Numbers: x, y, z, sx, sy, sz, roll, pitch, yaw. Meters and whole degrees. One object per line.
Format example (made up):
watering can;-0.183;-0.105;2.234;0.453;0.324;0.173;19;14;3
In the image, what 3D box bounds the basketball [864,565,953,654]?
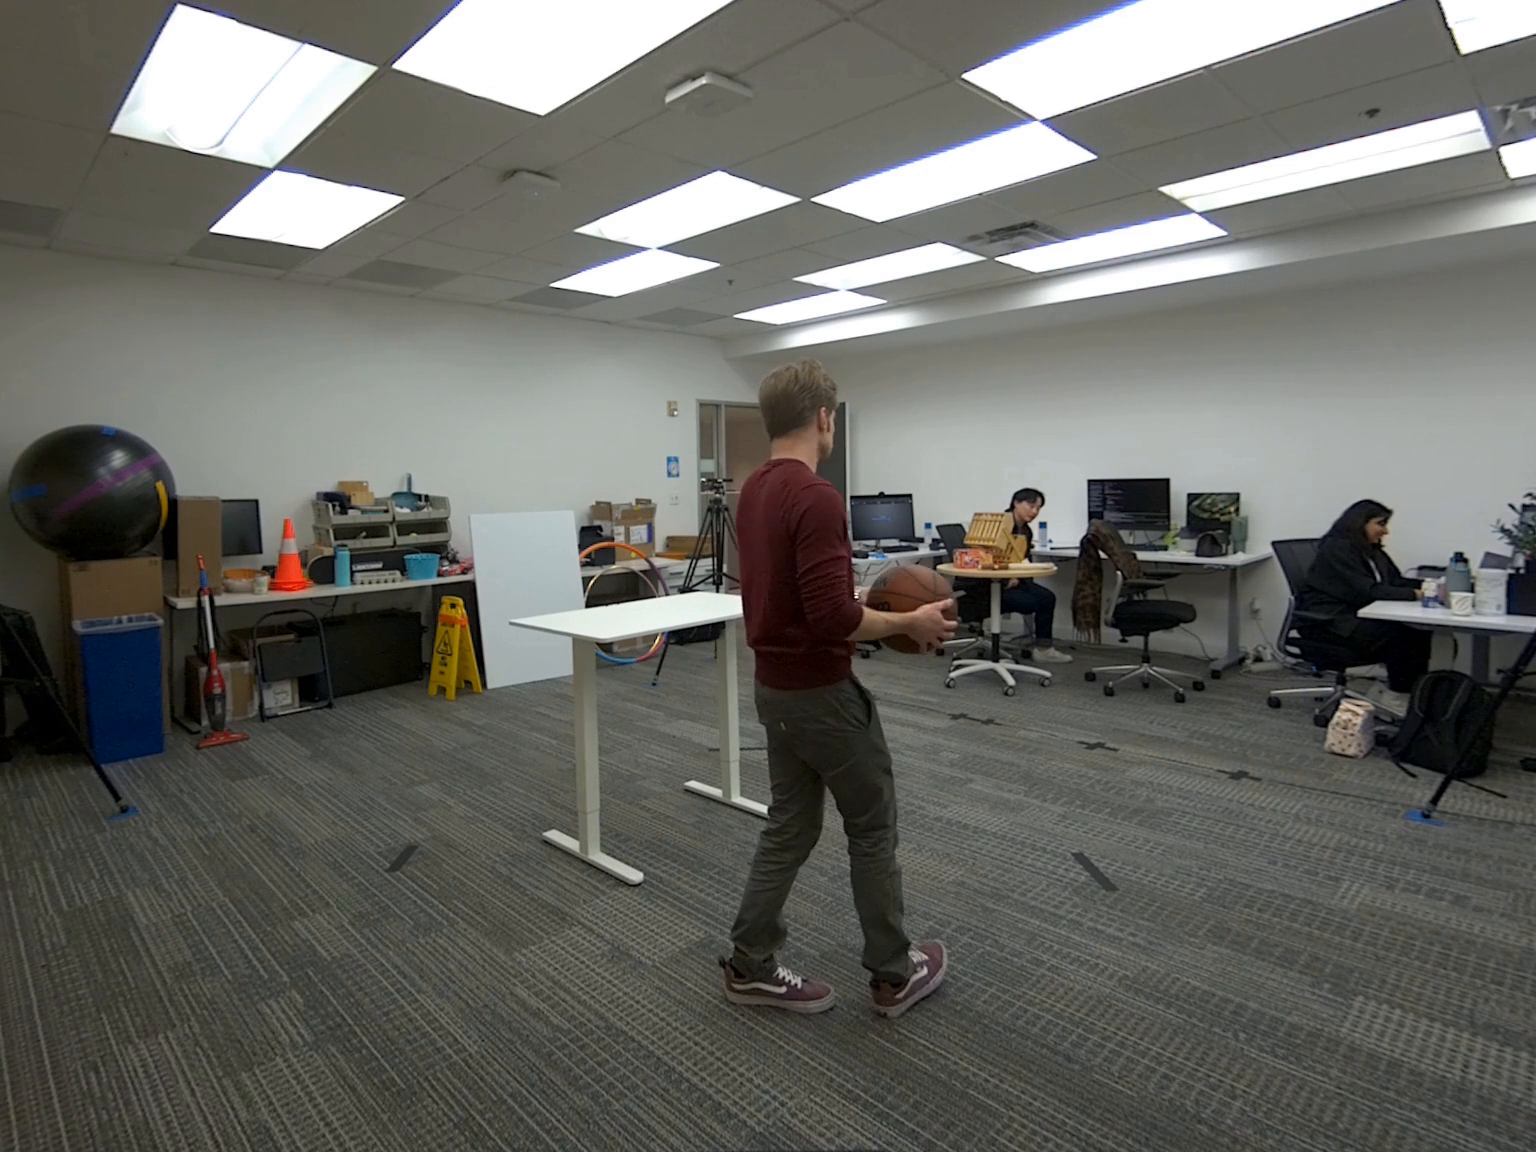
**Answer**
basketball;0.380;0.085;2.273;0.236;0.235;0.237;-1;5;-2
